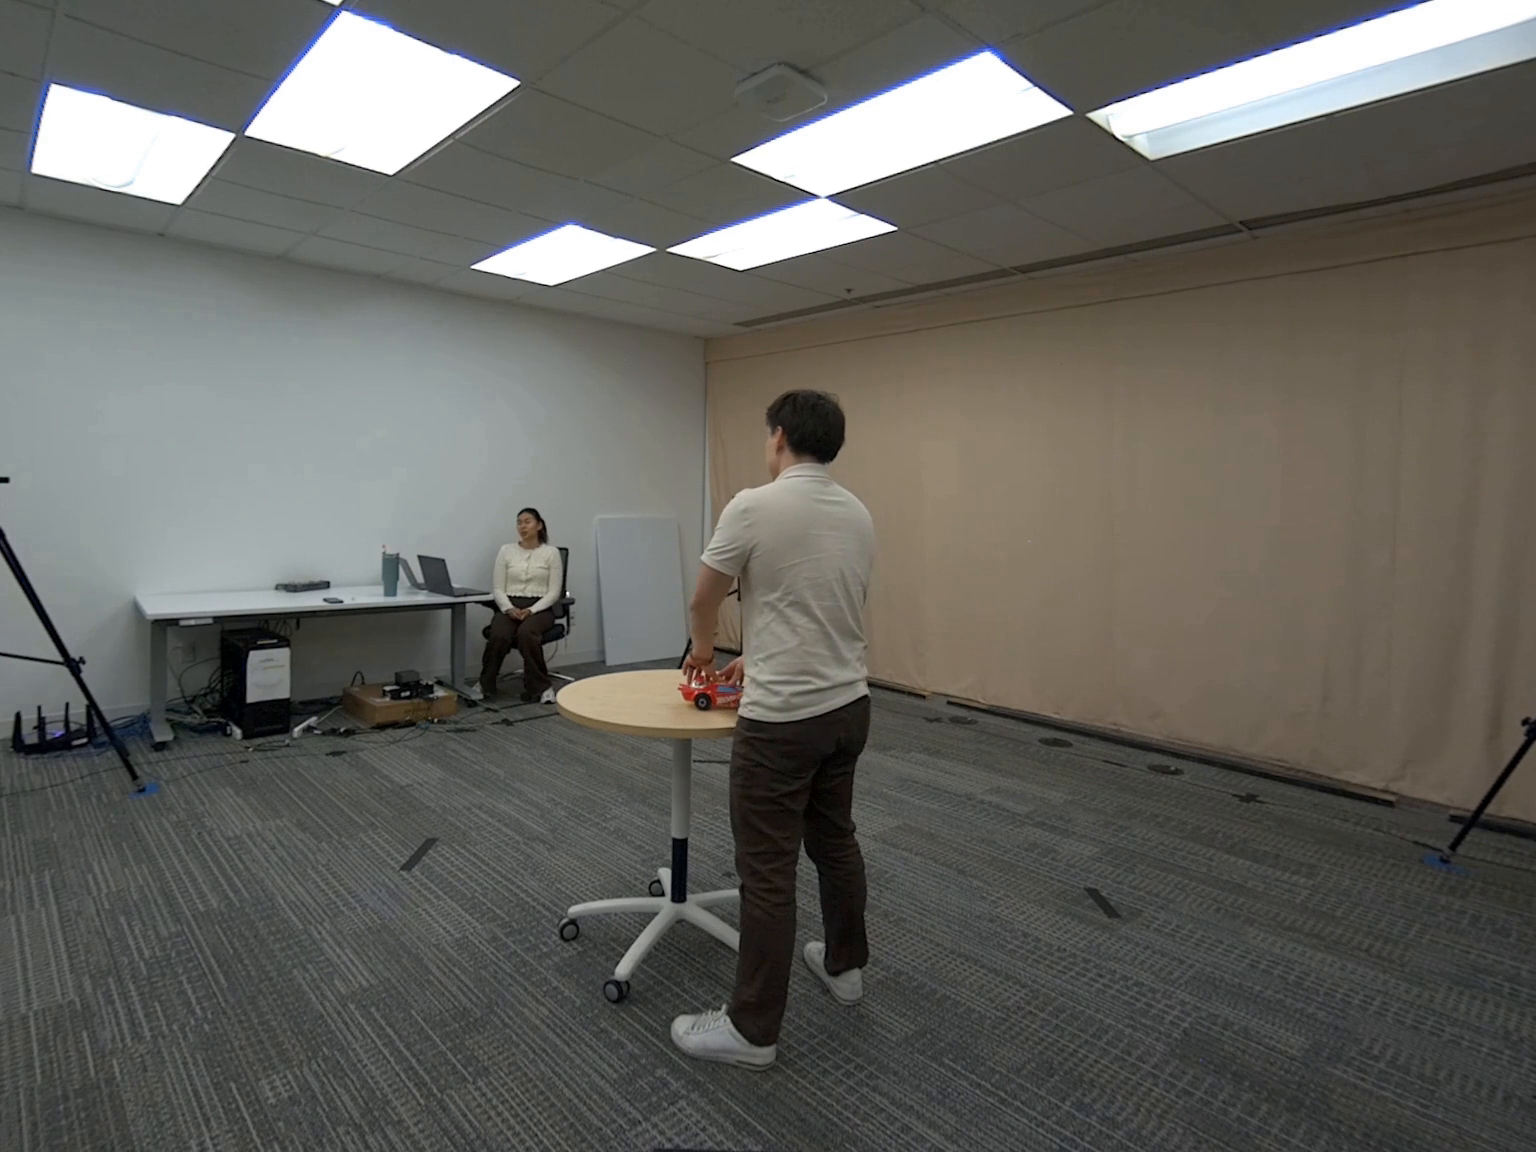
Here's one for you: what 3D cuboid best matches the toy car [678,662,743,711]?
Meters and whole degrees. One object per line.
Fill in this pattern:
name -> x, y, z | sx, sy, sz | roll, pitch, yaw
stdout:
toy car -> -0.144, 0.352, 2.433 | 0.254, 0.083, 0.130 | 14, 3, -1
